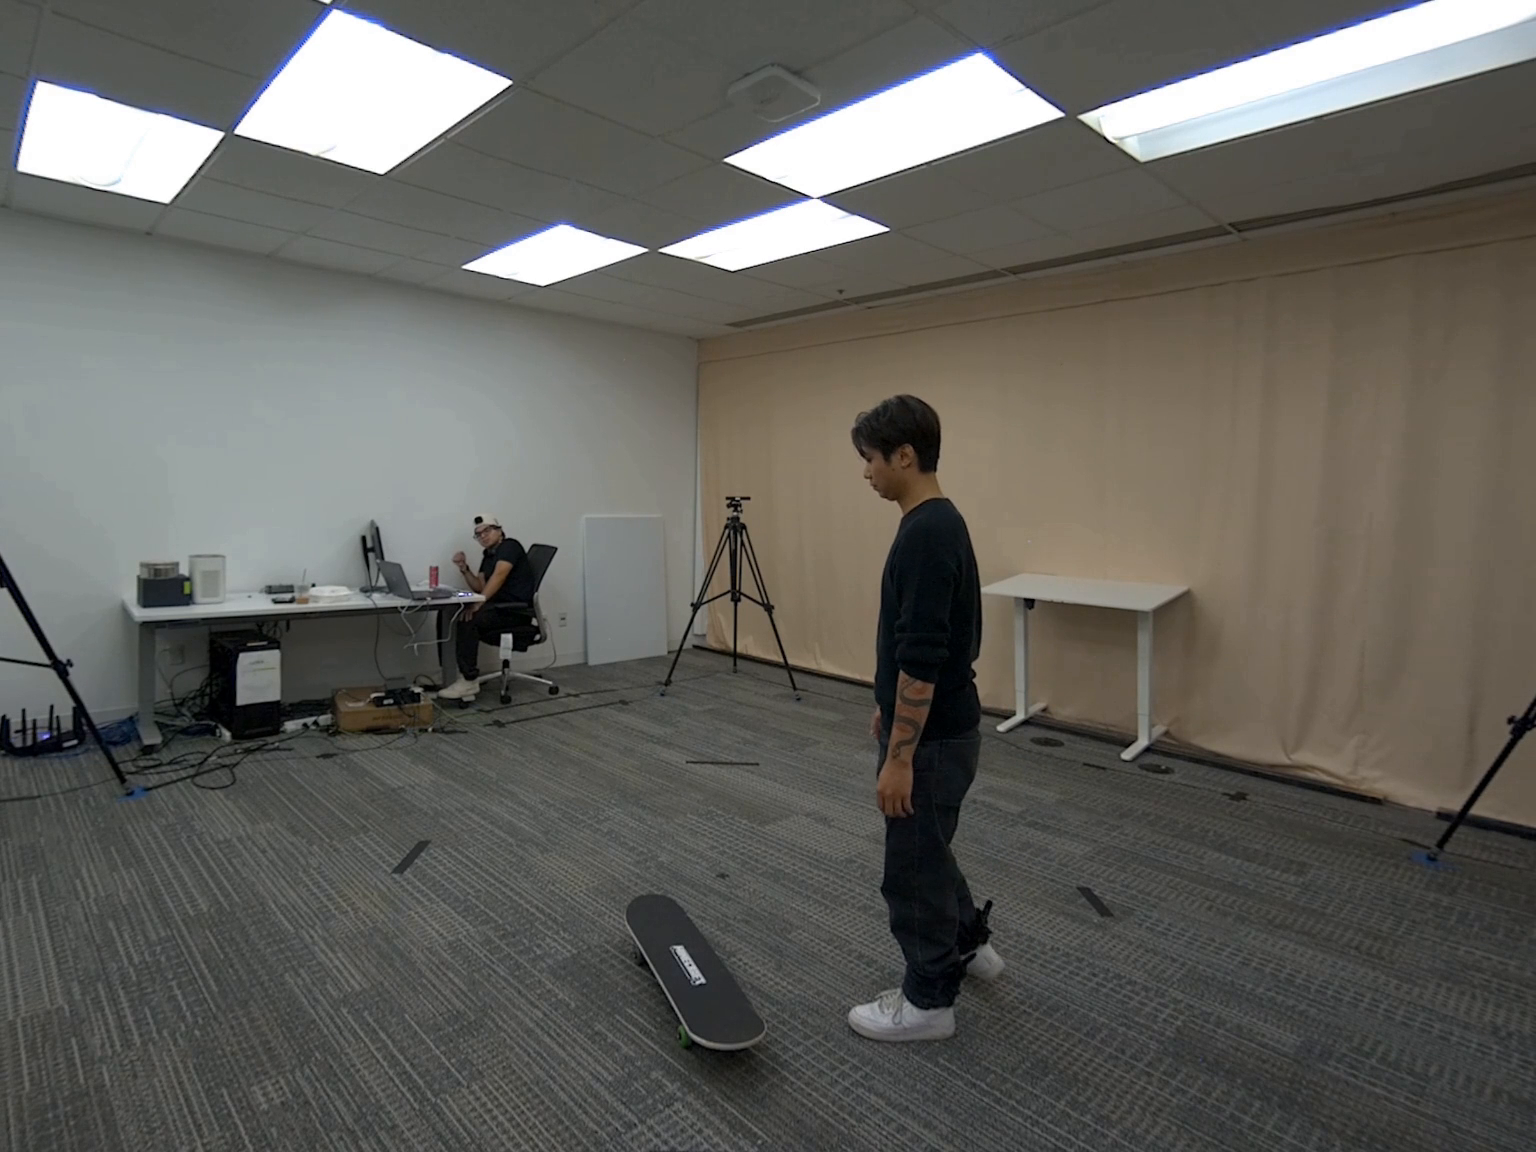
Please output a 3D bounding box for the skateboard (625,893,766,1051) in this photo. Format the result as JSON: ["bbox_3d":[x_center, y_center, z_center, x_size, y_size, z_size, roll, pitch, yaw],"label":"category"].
[{"bbox_3d":[-0.239,1.118,2.355,0.190,0.110,0.801,0,6,-23],"label":"skateboard"}]
